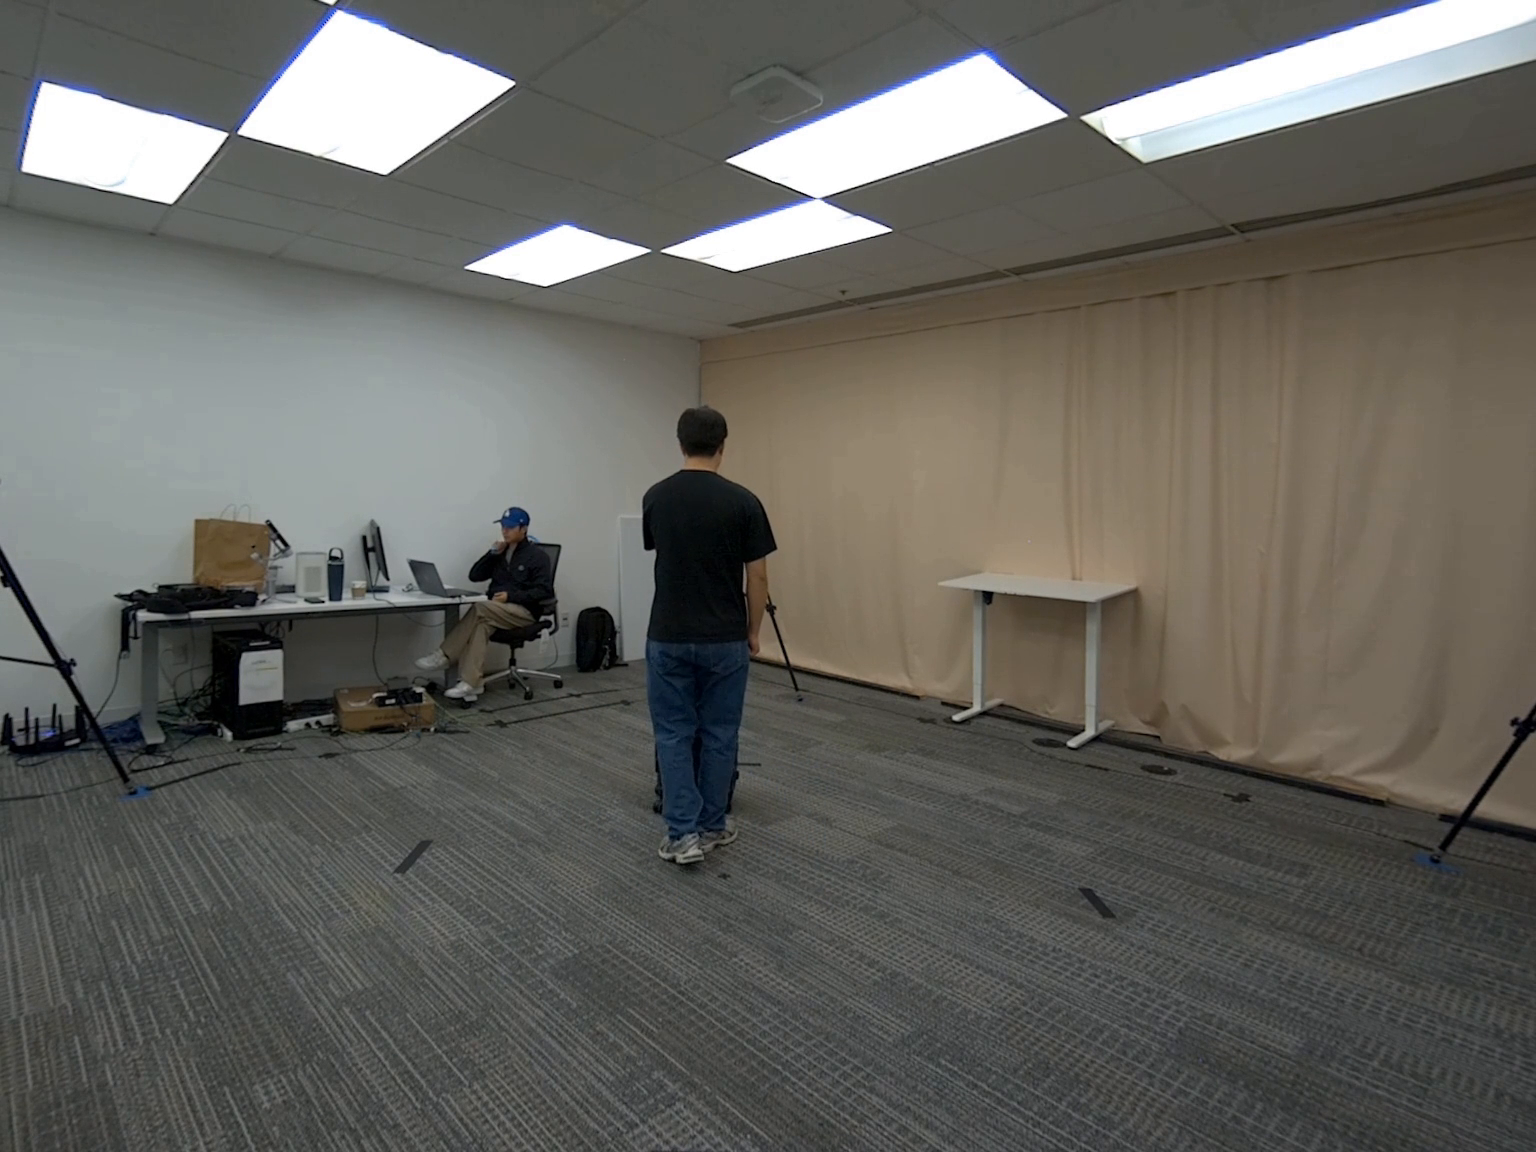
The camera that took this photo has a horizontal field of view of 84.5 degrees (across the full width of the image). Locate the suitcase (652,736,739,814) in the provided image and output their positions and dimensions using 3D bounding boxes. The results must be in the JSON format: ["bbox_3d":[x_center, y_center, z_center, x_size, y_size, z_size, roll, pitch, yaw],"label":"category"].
[{"bbox_3d":[-0.316,0.568,3.831,0.384,0.978,0.257,4,1,-1],"label":"suitcase"}]
